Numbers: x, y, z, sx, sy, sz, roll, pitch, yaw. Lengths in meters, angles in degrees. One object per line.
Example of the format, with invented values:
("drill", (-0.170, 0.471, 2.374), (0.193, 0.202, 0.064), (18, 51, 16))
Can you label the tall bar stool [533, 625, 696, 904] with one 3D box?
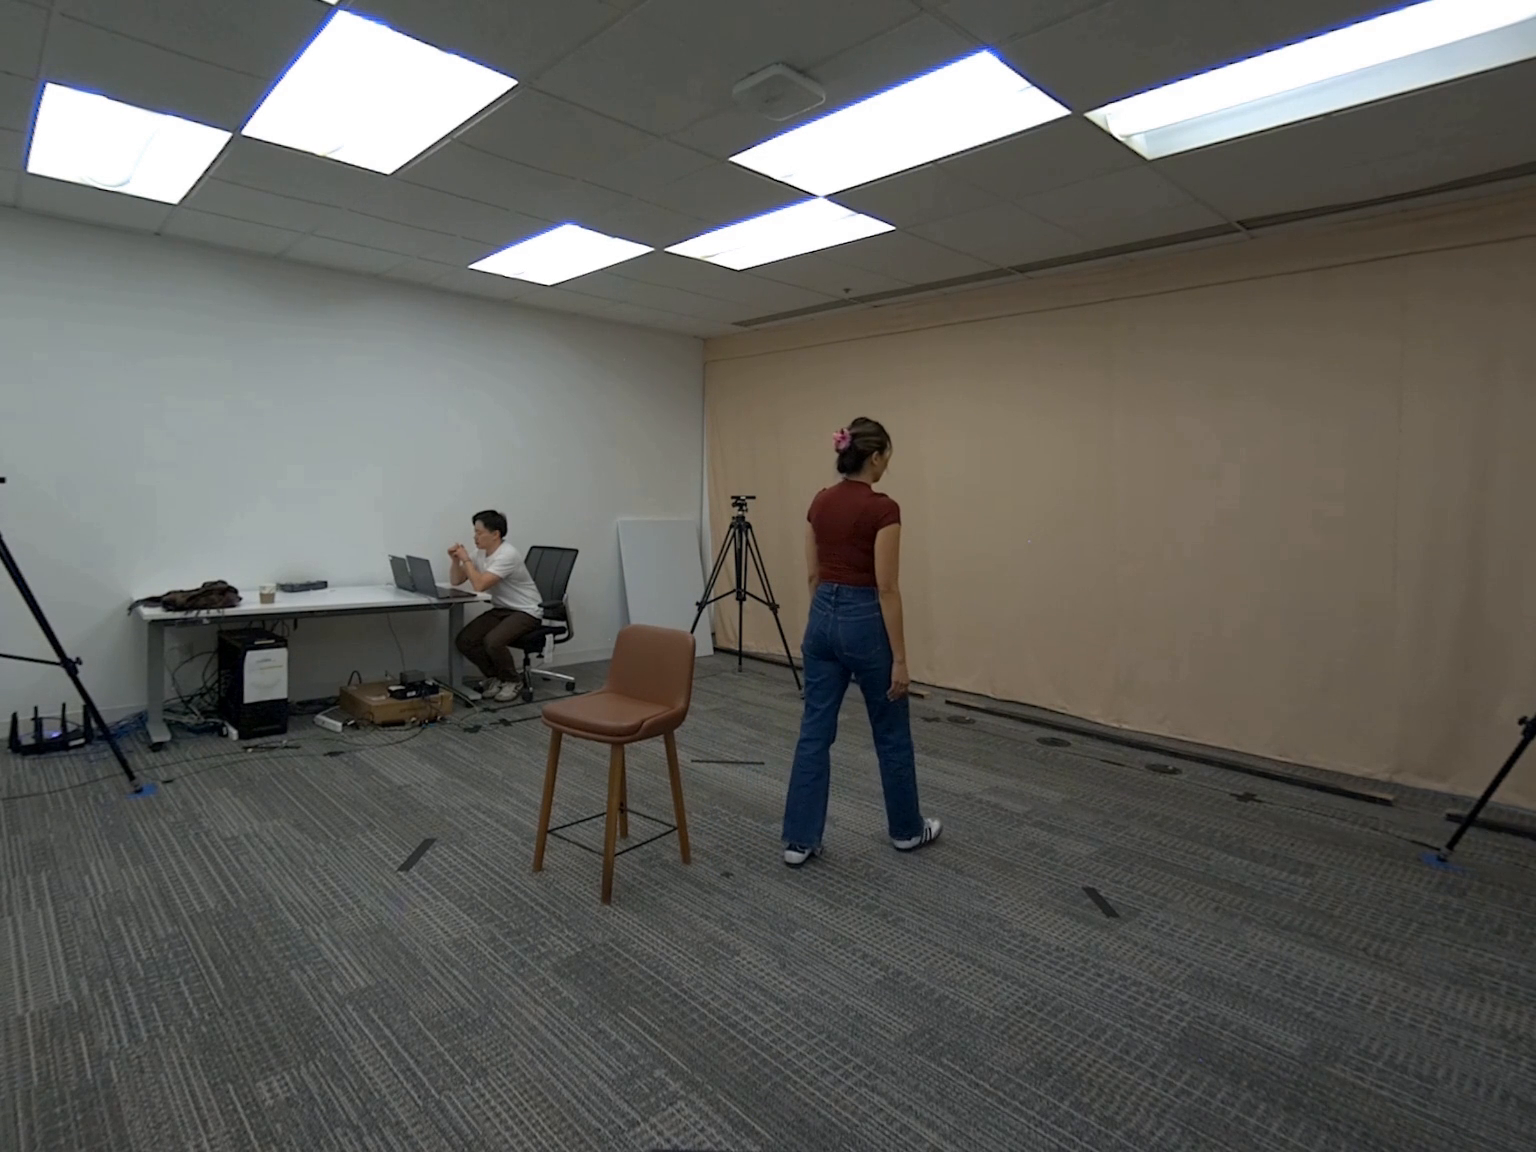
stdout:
("tall bar stool", (-0.565, 0.658, 3.126), (0.468, 0.888, 0.457), (4, 3, 39))
